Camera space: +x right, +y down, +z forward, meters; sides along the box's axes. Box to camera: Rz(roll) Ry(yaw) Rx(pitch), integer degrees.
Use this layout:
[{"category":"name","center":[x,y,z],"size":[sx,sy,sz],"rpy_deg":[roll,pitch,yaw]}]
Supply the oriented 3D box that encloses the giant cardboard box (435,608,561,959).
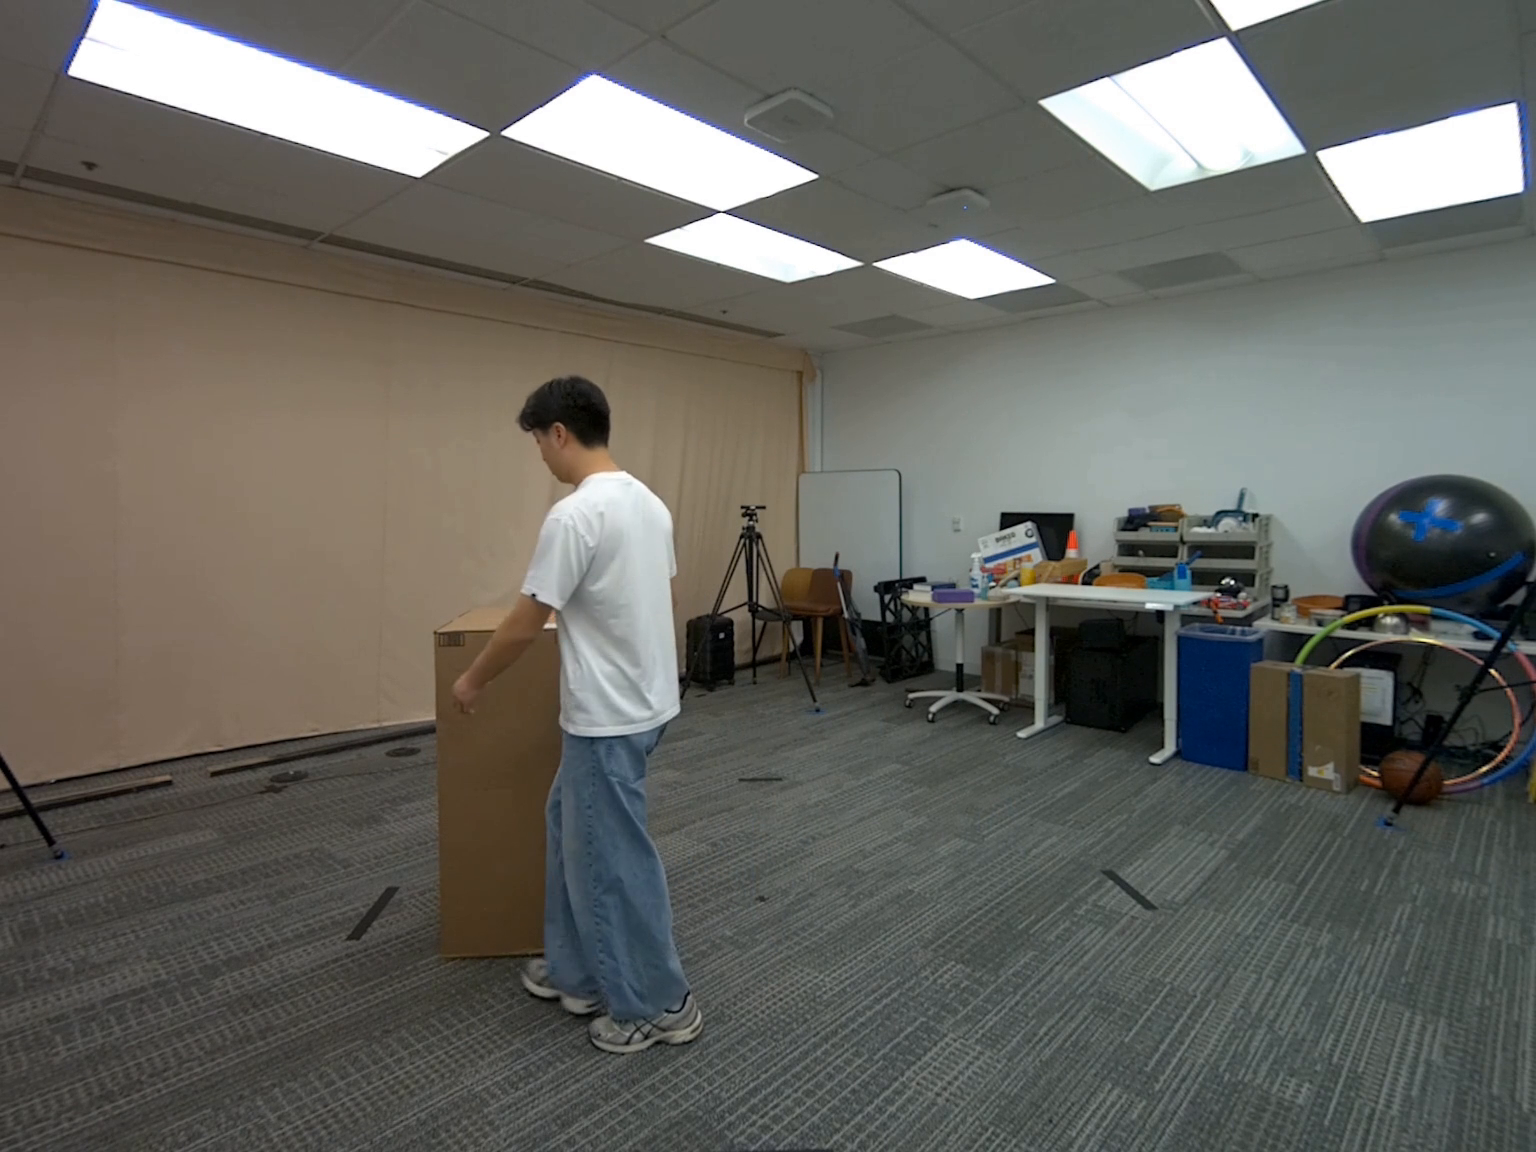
[{"category":"giant cardboard box","center":[-0.846,0.650,2.867],"size":[0.423,1.024,0.582],"rpy_deg":[0,3,-7]}]
